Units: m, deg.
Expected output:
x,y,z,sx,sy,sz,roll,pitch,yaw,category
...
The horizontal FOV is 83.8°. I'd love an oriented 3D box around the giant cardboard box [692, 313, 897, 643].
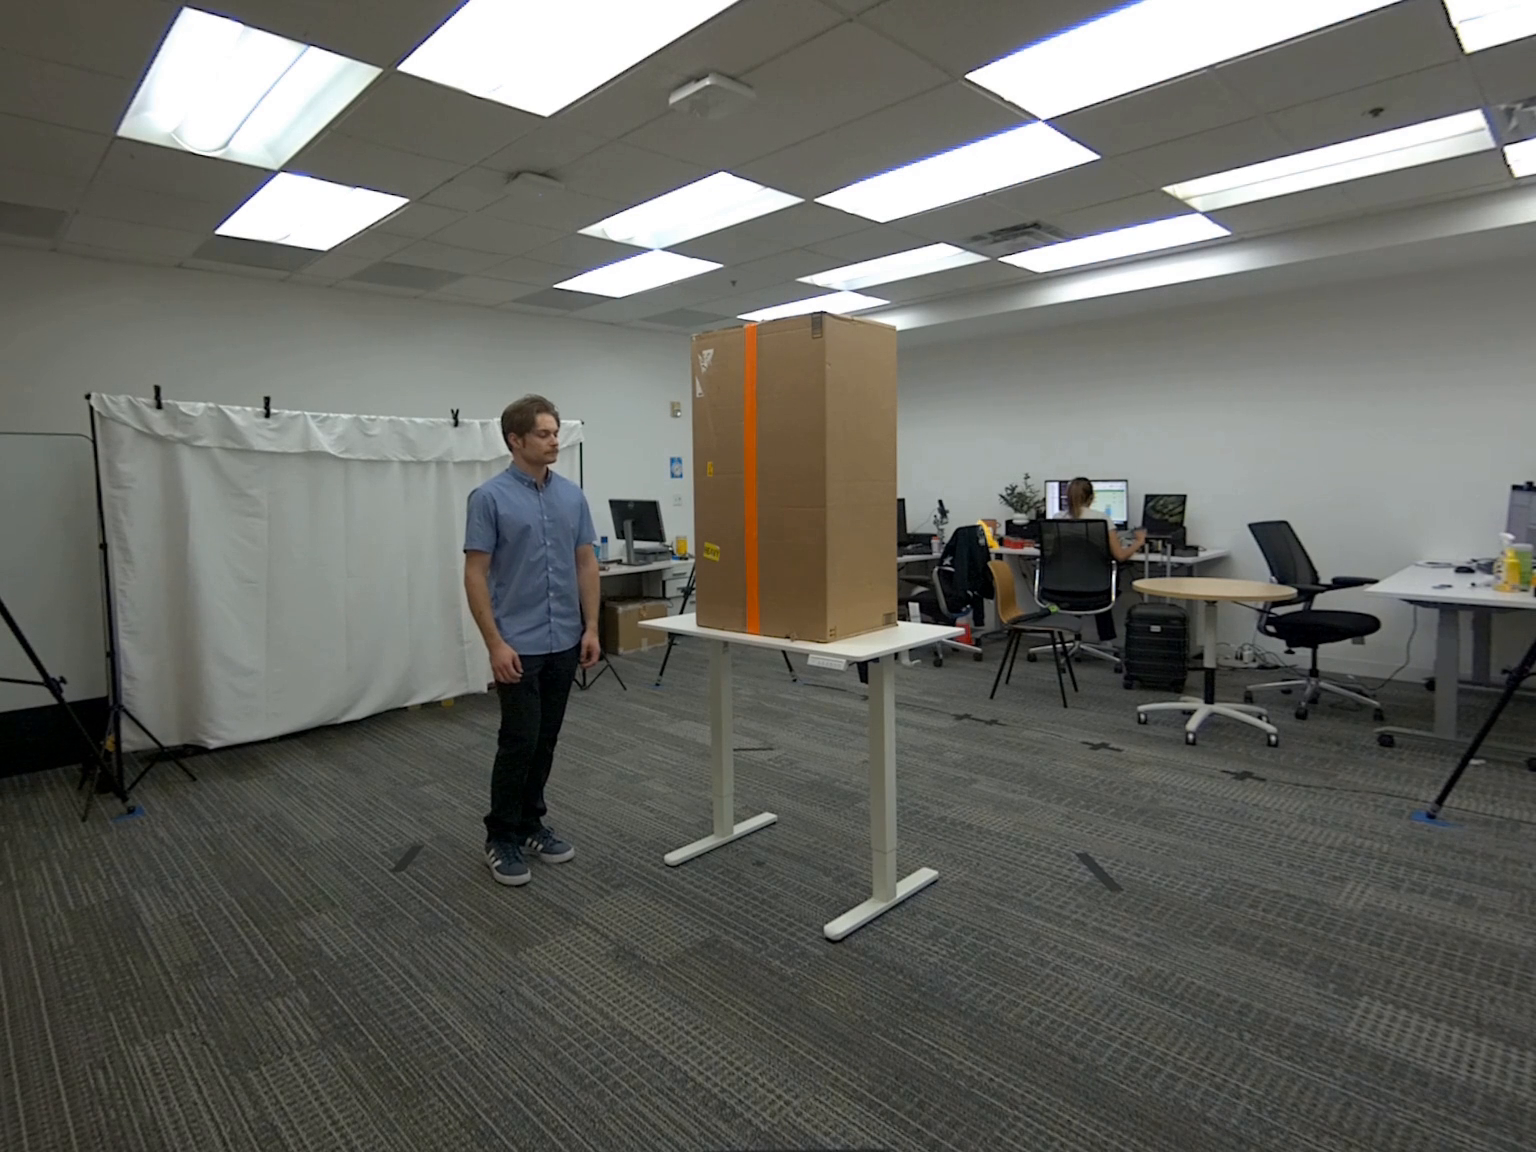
x,y,z,sx,sy,sz,roll,pitch,yaw,category
0.088,-0.329,2.952,0.595,1.022,0.415,3,5,43,giant cardboard box
